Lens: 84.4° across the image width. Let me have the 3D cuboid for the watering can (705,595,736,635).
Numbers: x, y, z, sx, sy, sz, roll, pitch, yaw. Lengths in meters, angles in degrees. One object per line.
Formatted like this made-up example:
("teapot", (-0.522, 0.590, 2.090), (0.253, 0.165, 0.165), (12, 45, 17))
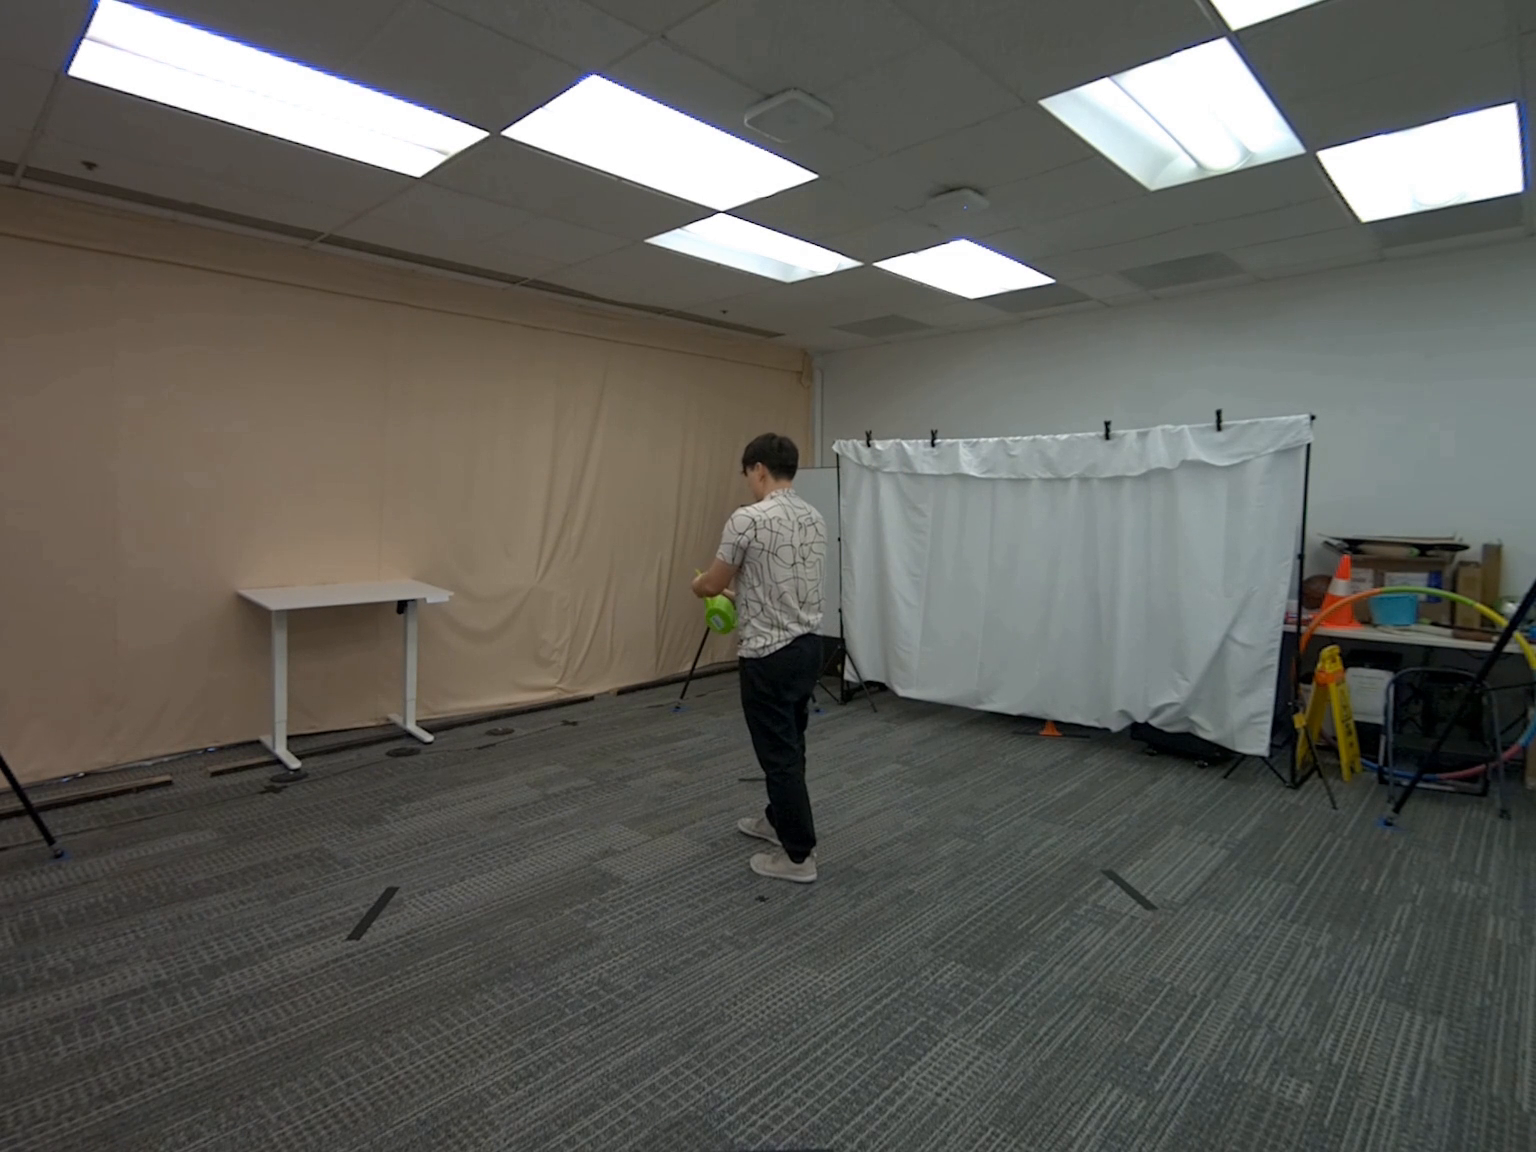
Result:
("watering can", (-0.224, 0.124, 3.465), (0.275, 0.098, 0.178), (41, 20, -9))
